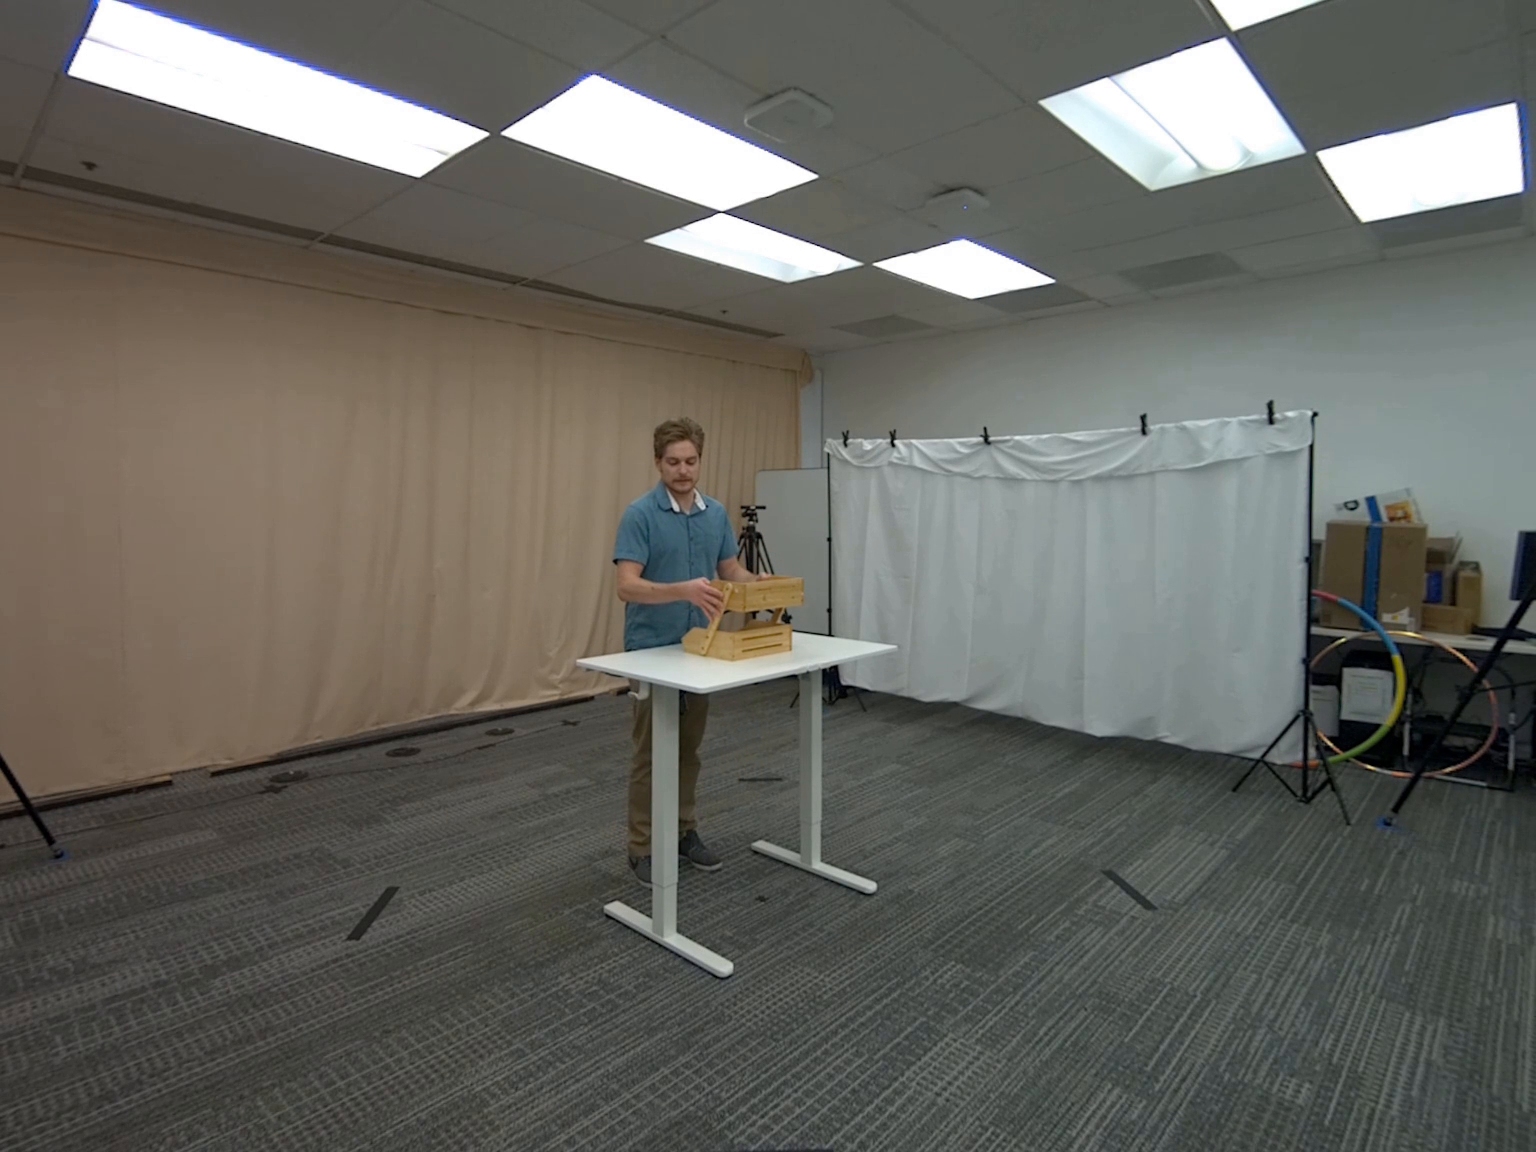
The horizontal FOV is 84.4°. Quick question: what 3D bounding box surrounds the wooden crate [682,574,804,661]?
[{"bbox_3d":[-0.087,0.134,2.927,0.312,0.272,0.314,5,6,43],"label":"wooden crate"}]
